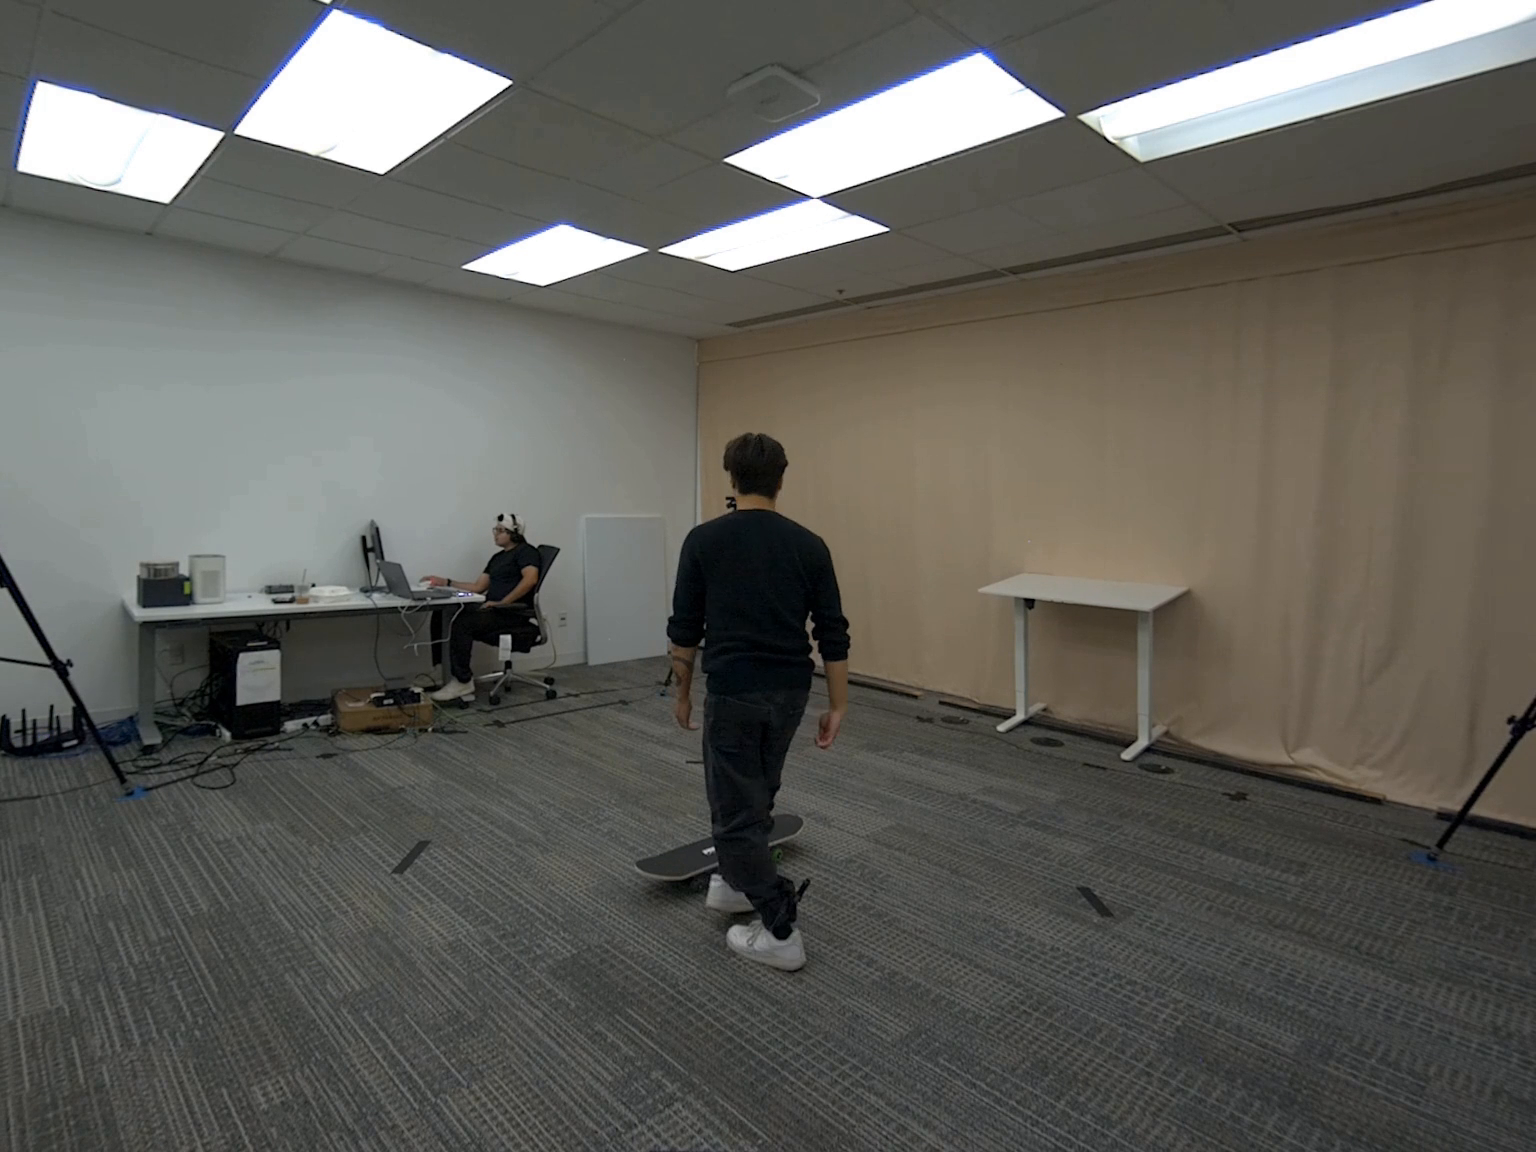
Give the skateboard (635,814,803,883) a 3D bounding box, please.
[{"bbox_3d":[-0.166,1.041,3.154,0.767,0.110,0.198,-3,6,-44],"label":"skateboard"}]
